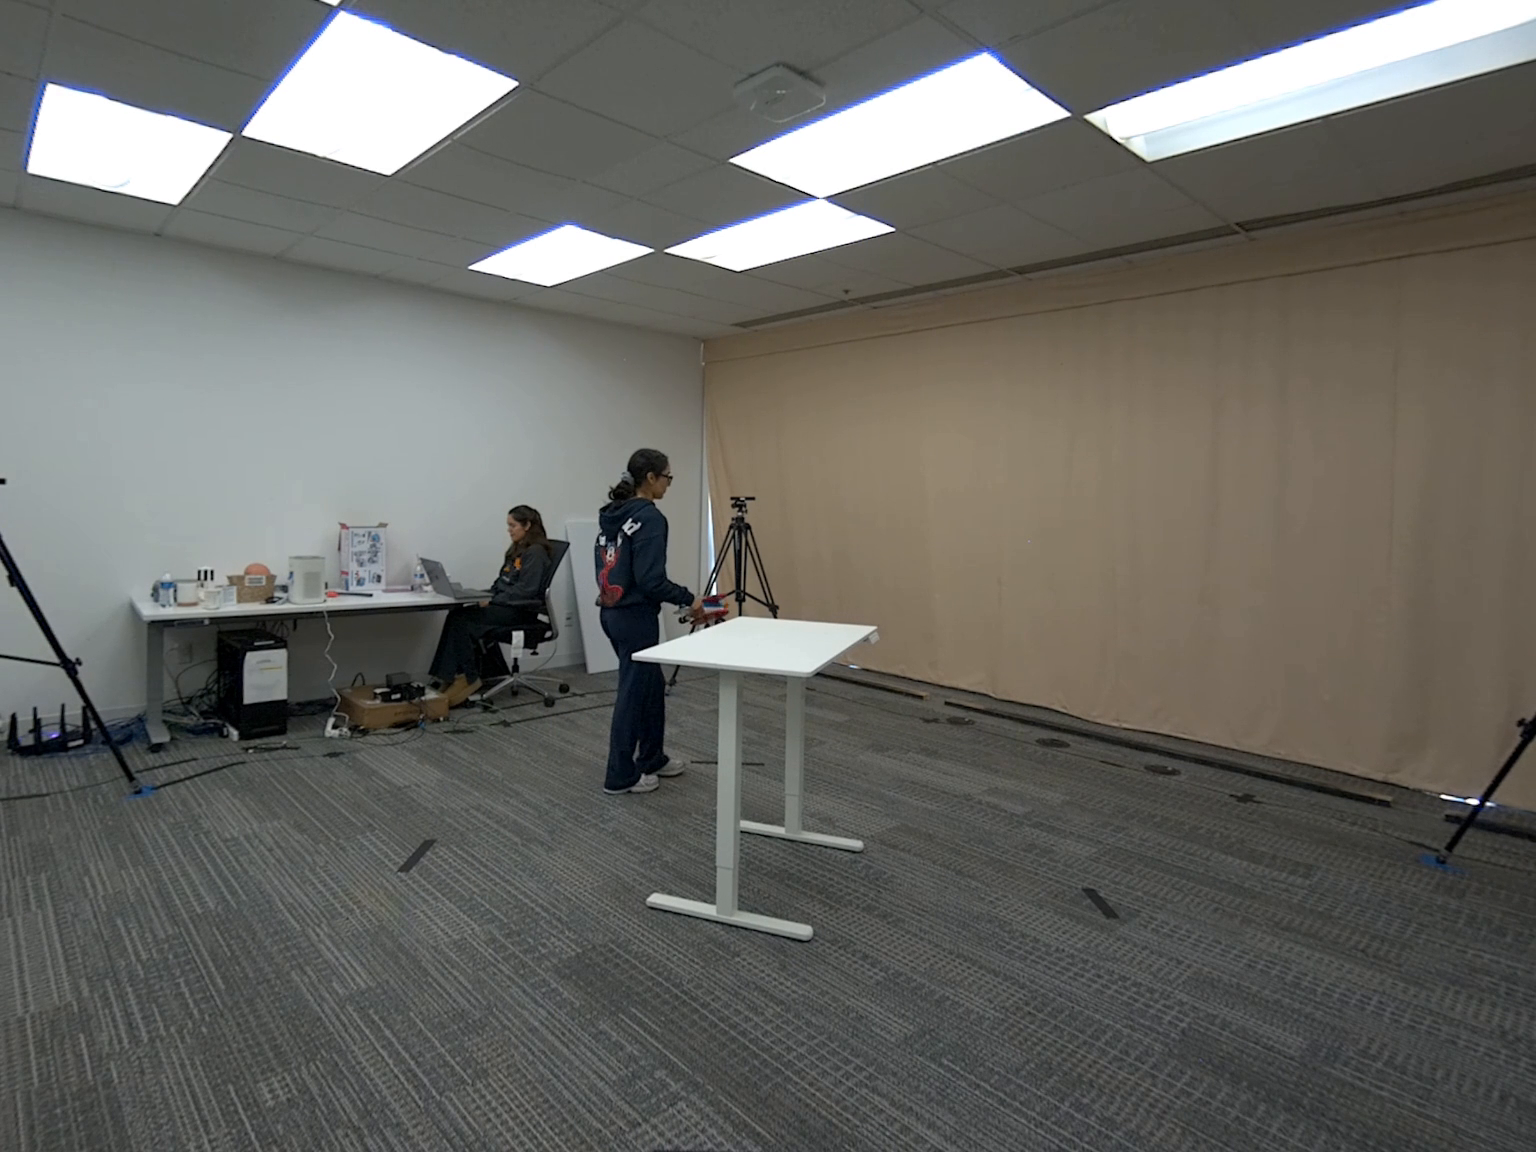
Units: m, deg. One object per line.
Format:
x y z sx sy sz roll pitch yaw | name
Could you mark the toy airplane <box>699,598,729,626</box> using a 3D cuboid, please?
-0.316 0.163 3.977 0.255 0.158 0.252 -6 -22 22 | toy airplane
